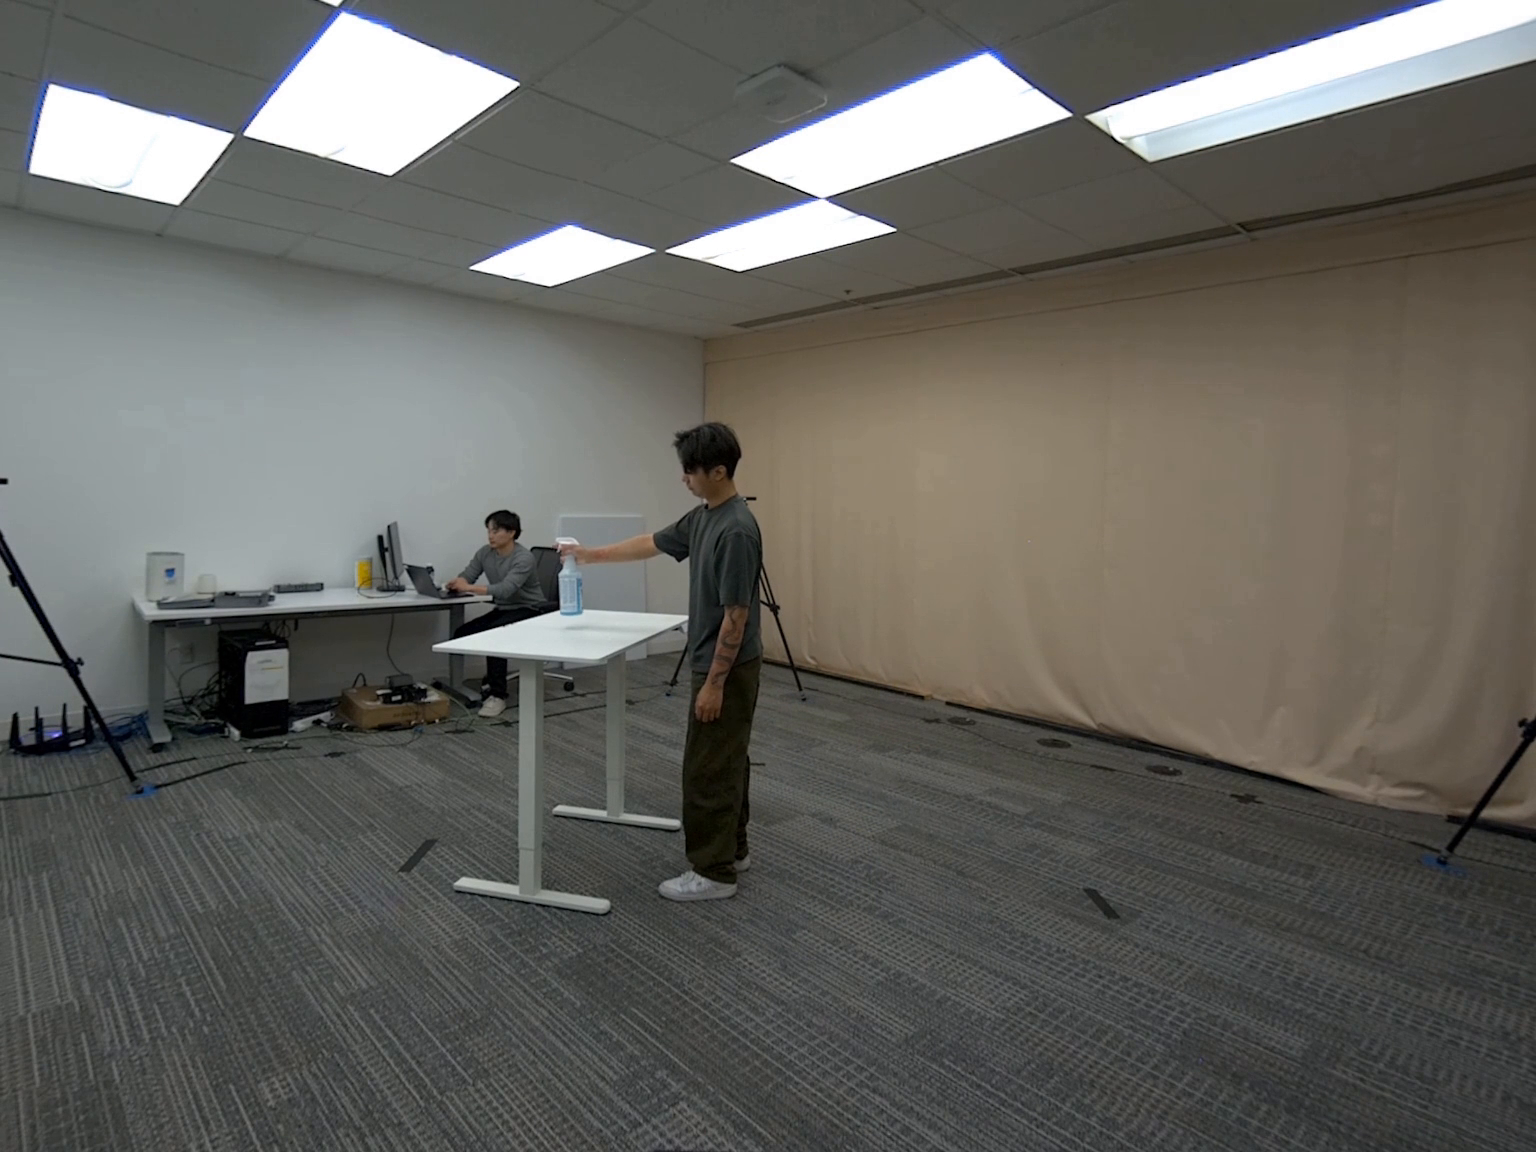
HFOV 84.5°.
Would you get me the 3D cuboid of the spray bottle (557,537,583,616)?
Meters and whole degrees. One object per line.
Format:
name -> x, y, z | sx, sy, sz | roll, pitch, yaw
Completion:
spray bottle -> -0.759, 0.003, 3.222 | 0.092, 0.297, 0.085 | -2, 1, 37
